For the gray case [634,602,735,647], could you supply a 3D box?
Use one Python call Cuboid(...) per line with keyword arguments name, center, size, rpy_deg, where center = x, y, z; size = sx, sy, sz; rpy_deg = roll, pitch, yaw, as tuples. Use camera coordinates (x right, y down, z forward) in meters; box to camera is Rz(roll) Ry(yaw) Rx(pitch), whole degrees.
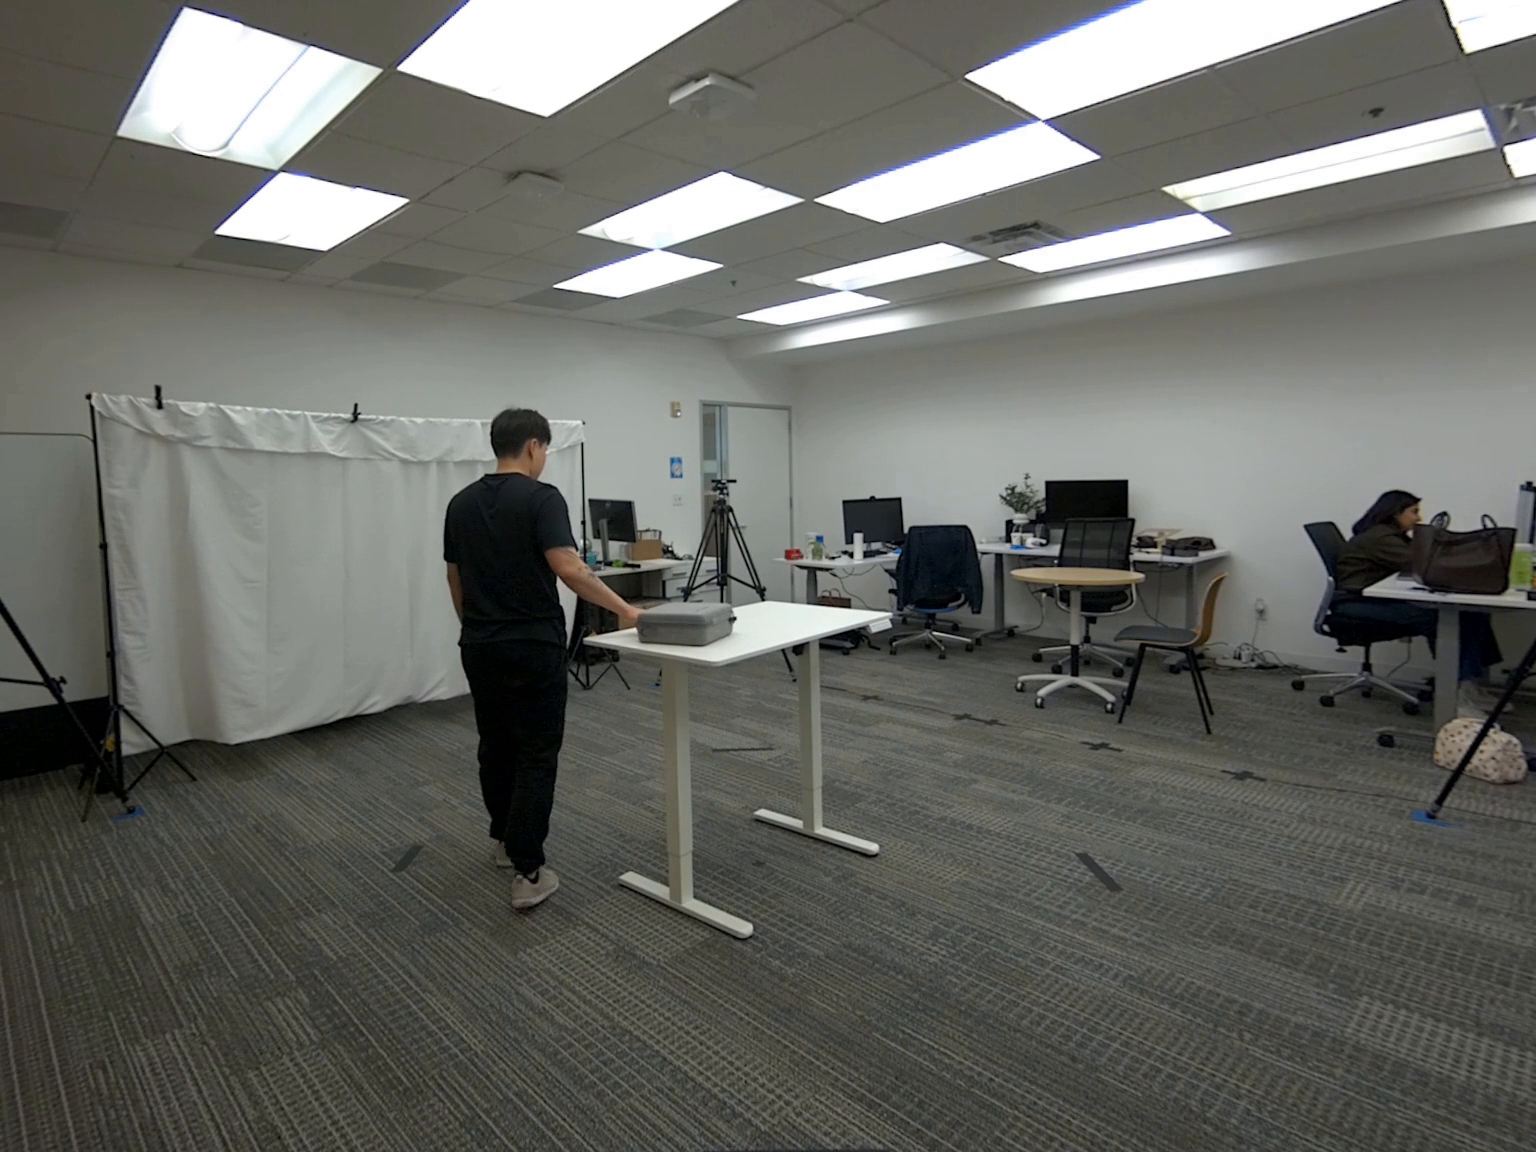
Cuboid(name="gray case", center=(-0.268, 0.152, 2.804), size=(0.266, 0.104, 0.253), rpy_deg=(0, 7, 23))
